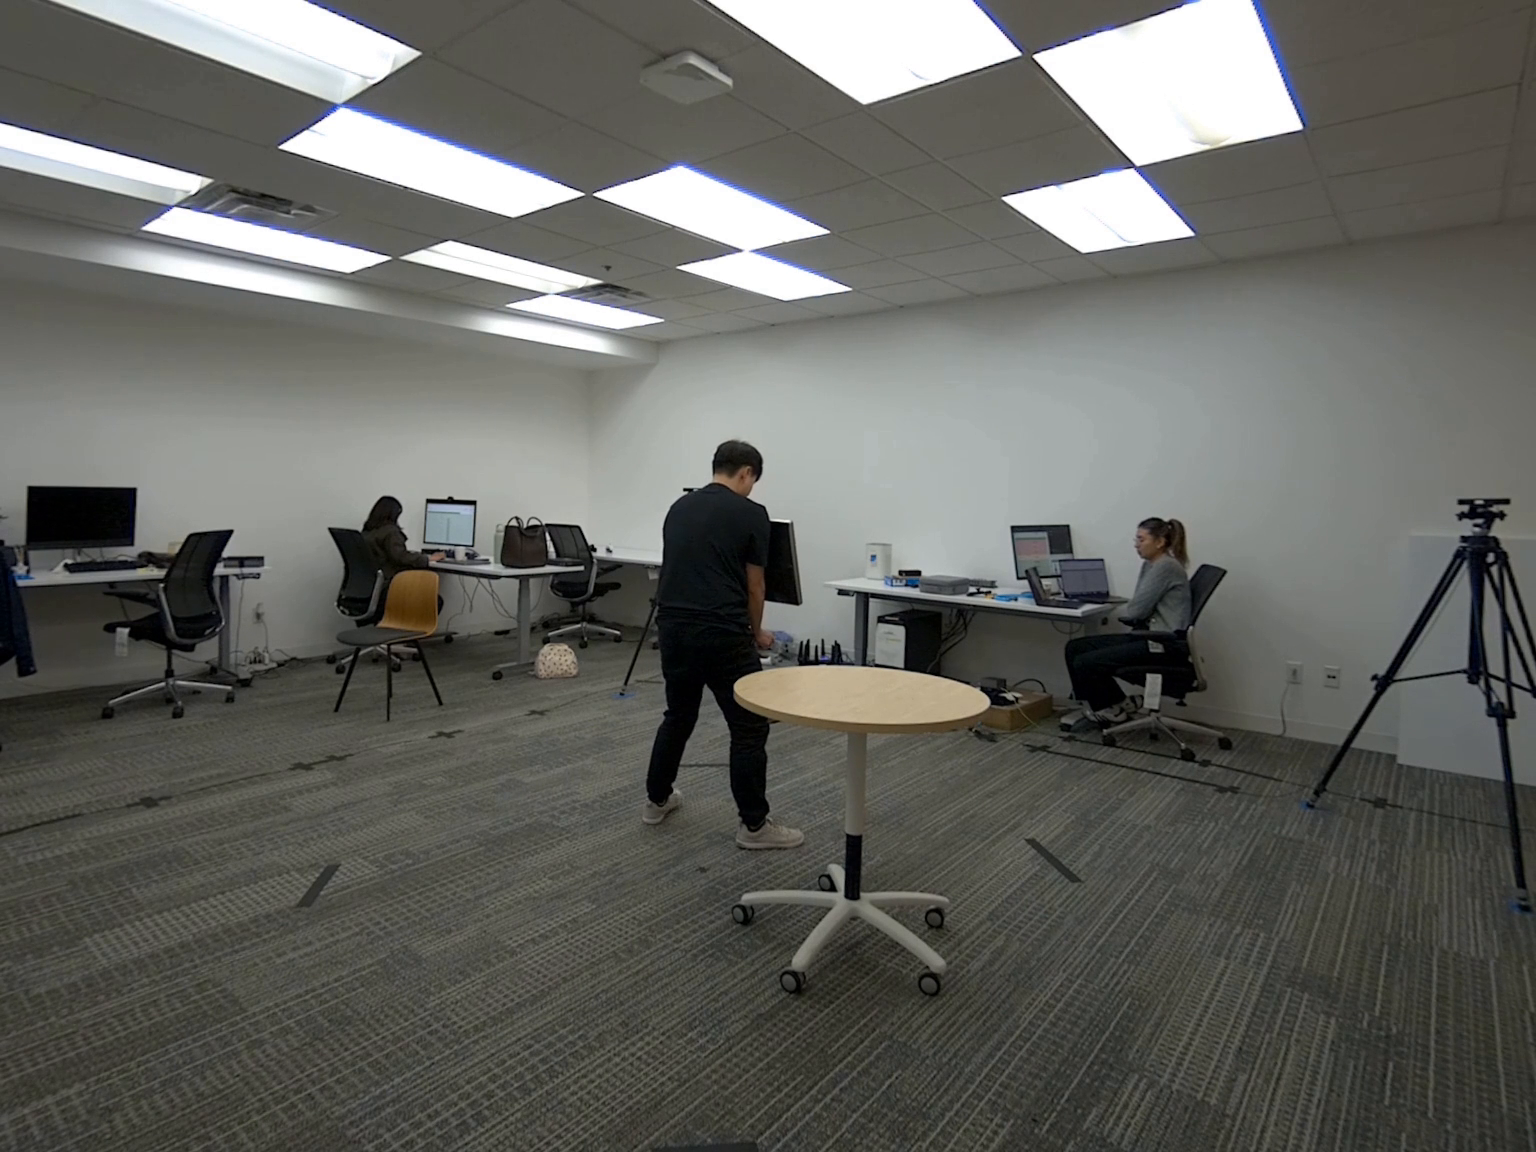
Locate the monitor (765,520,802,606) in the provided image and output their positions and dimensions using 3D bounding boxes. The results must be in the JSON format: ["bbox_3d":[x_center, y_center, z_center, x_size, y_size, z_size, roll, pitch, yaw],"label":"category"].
[{"bbox_3d":[-0.137,0.016,3.556,0.557,0.518,0.183,6,12,35],"label":"monitor"}]
